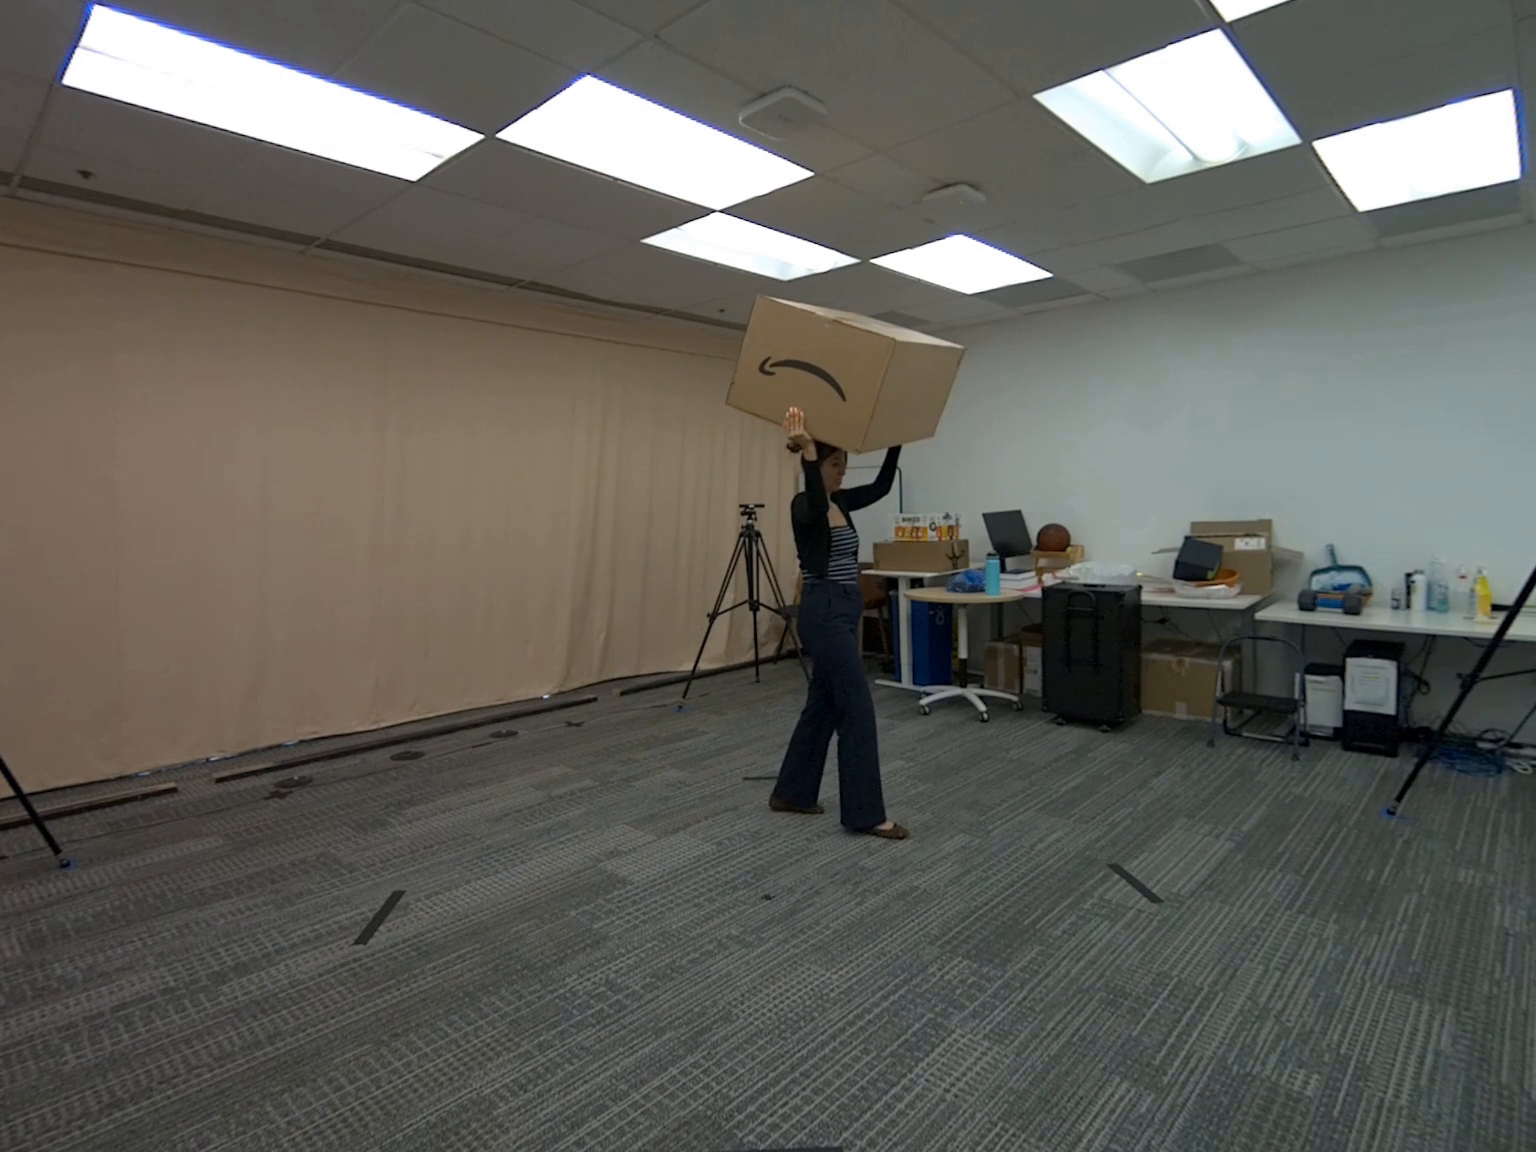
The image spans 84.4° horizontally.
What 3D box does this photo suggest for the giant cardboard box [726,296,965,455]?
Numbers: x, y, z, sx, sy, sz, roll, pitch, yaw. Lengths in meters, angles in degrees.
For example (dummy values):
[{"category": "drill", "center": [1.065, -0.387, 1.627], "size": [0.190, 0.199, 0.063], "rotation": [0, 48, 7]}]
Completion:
[{"category": "giant cardboard box", "center": [0.356, -0.830, 3.494], "size": [0.593, 0.424, 1.005], "rotation": [25, 22, 21]}]
